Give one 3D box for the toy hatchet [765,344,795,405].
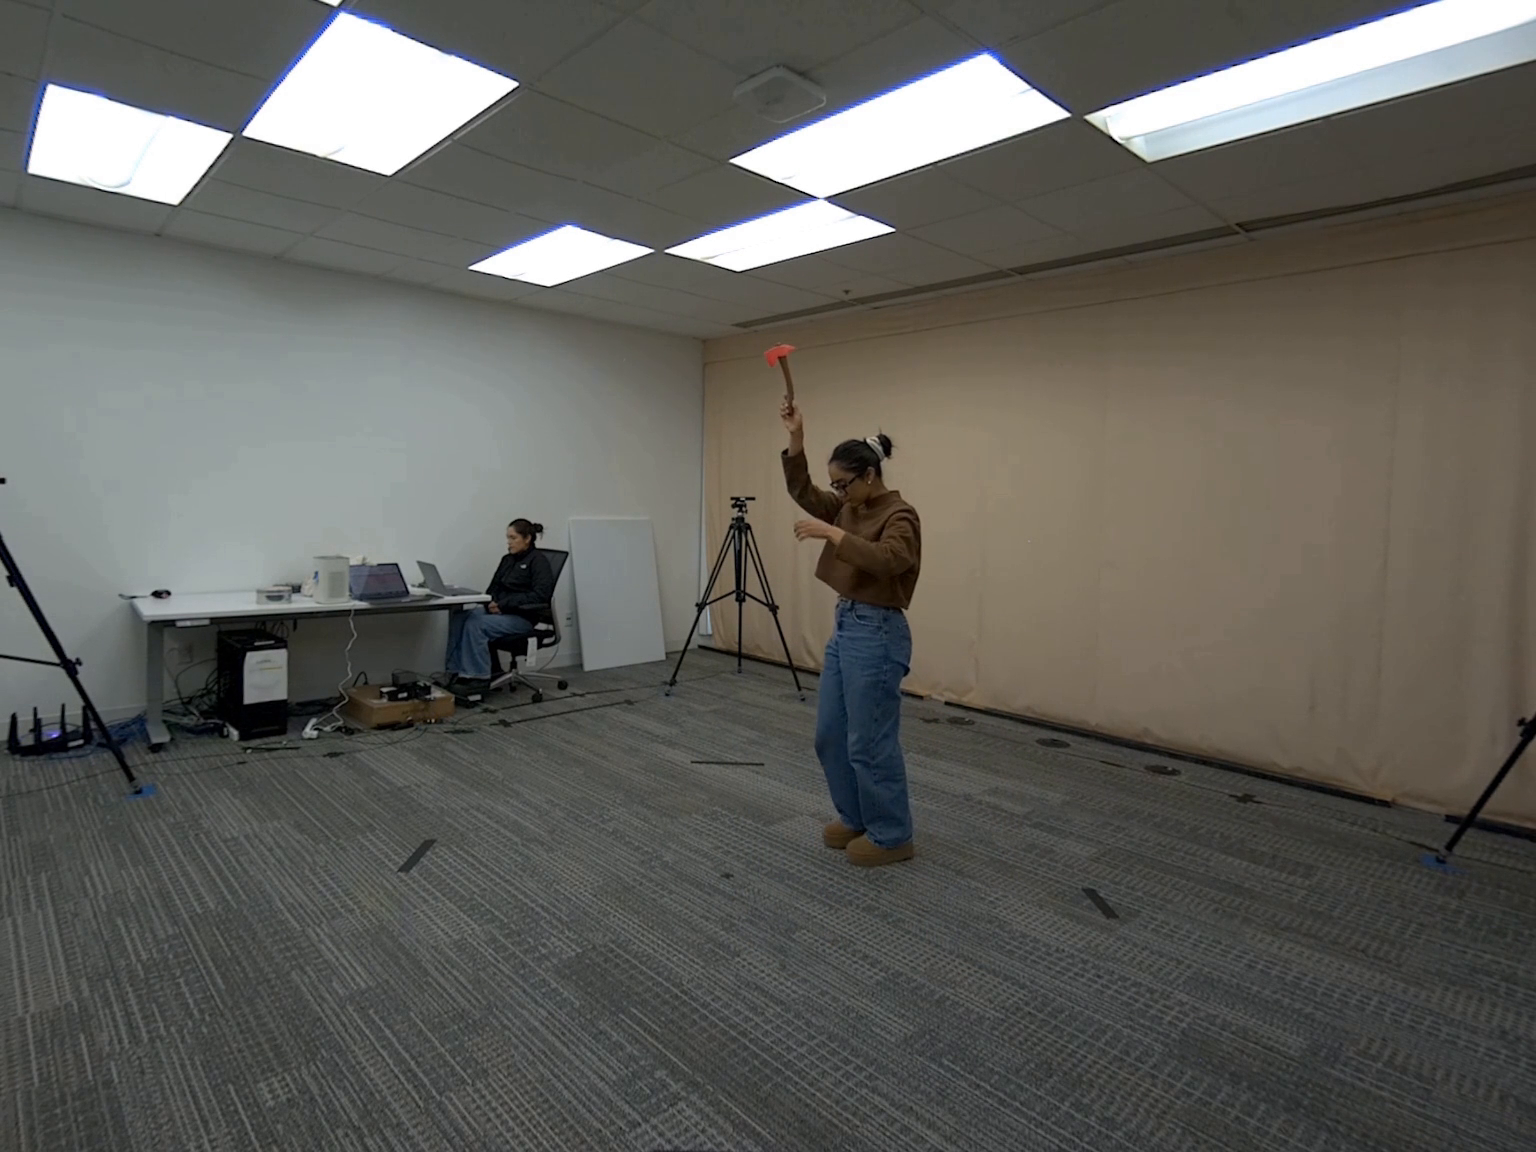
[{"bbox_3d":[0.040,-0.754,3.193,0.128,0.271,0.030,2,-6,-26],"label":"toy hatchet"}]
